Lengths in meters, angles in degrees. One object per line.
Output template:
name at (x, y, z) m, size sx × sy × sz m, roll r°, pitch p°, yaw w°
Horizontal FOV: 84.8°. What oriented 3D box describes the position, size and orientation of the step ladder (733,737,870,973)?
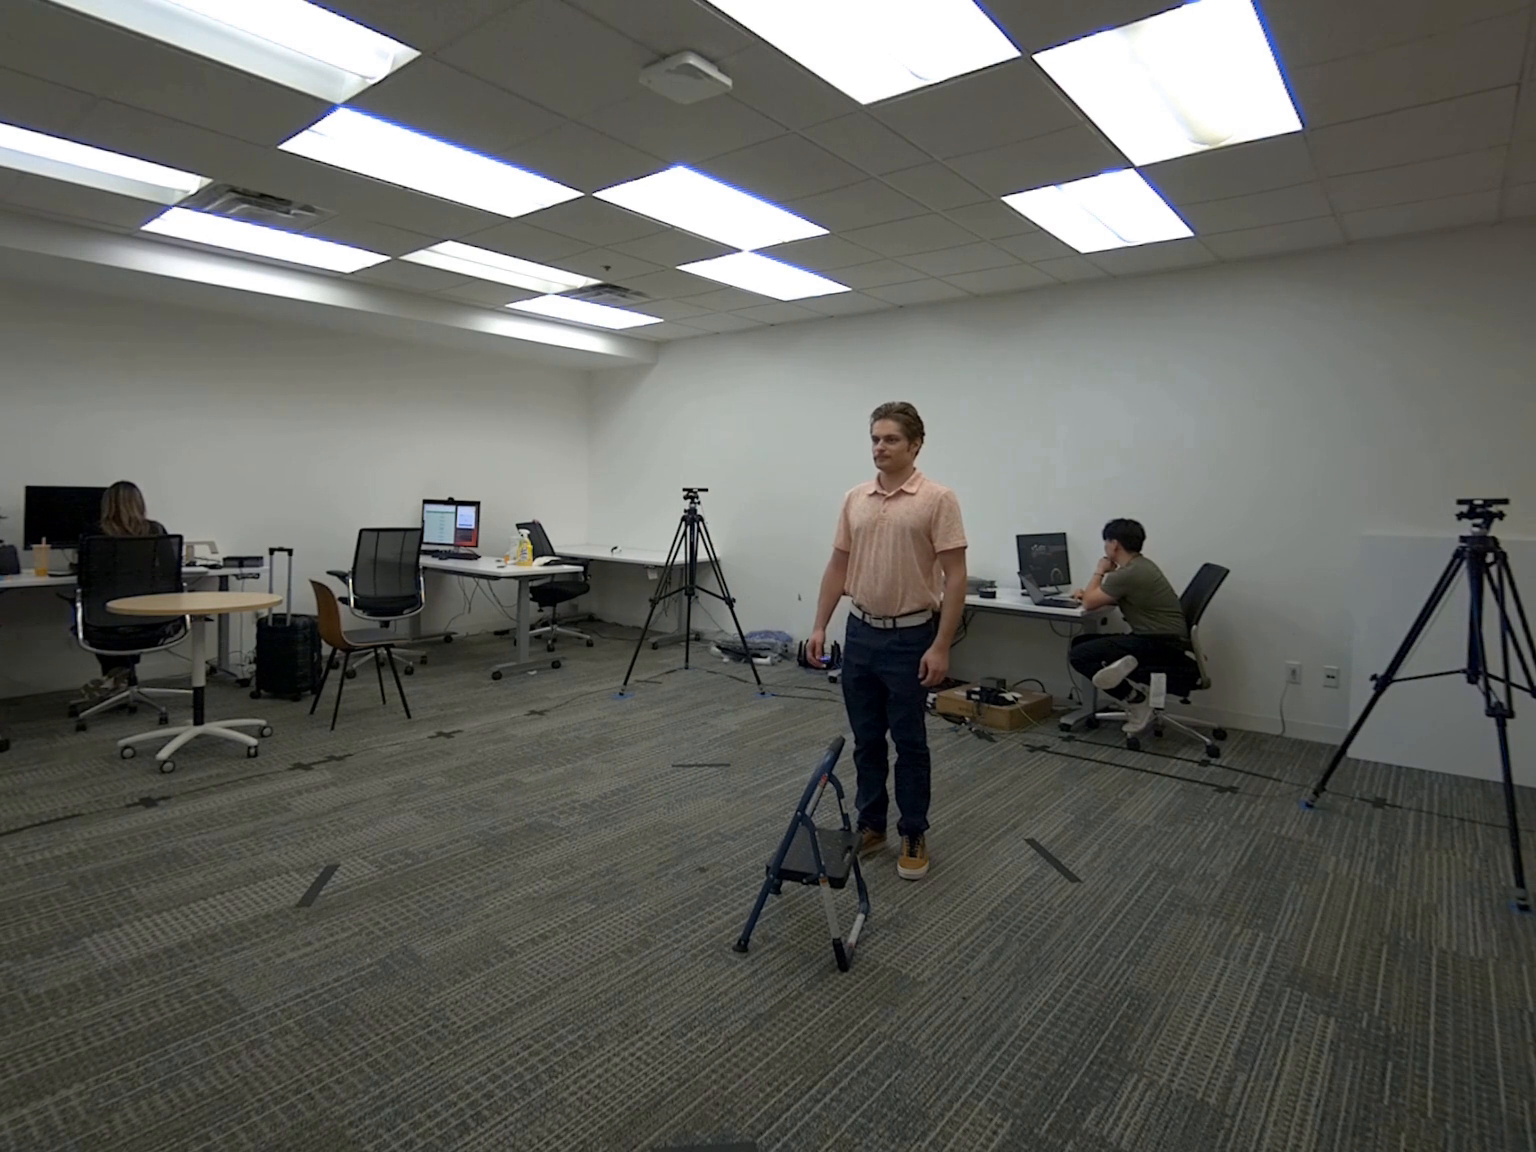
step ladder at (0.120, 0.815, 2.687) m, size 0.356 × 0.604 × 0.424 m, roll 2°, pitch 4°, yaw 16°
